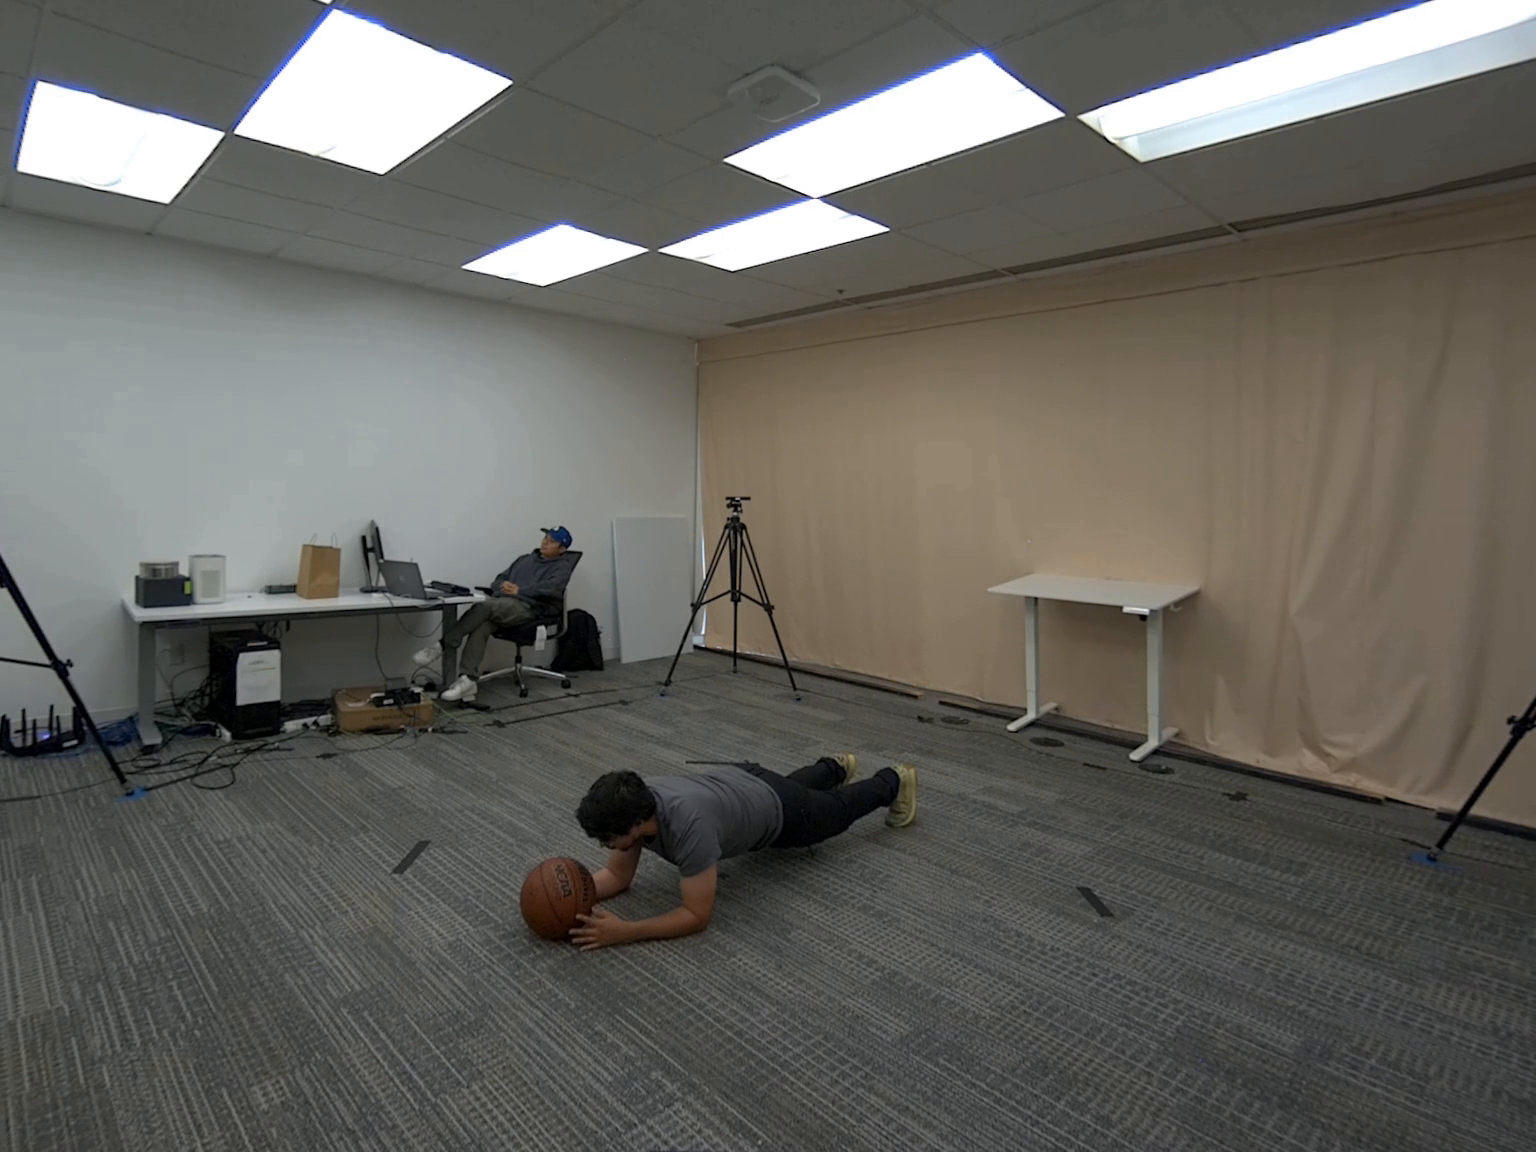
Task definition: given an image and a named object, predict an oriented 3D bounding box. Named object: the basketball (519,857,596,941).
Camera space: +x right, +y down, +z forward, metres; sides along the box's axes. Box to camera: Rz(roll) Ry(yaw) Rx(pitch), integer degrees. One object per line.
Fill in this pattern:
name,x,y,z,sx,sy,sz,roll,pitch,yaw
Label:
basketball,-0.663,1.013,2.661,0.236,0.235,0.237,1,4,-1
